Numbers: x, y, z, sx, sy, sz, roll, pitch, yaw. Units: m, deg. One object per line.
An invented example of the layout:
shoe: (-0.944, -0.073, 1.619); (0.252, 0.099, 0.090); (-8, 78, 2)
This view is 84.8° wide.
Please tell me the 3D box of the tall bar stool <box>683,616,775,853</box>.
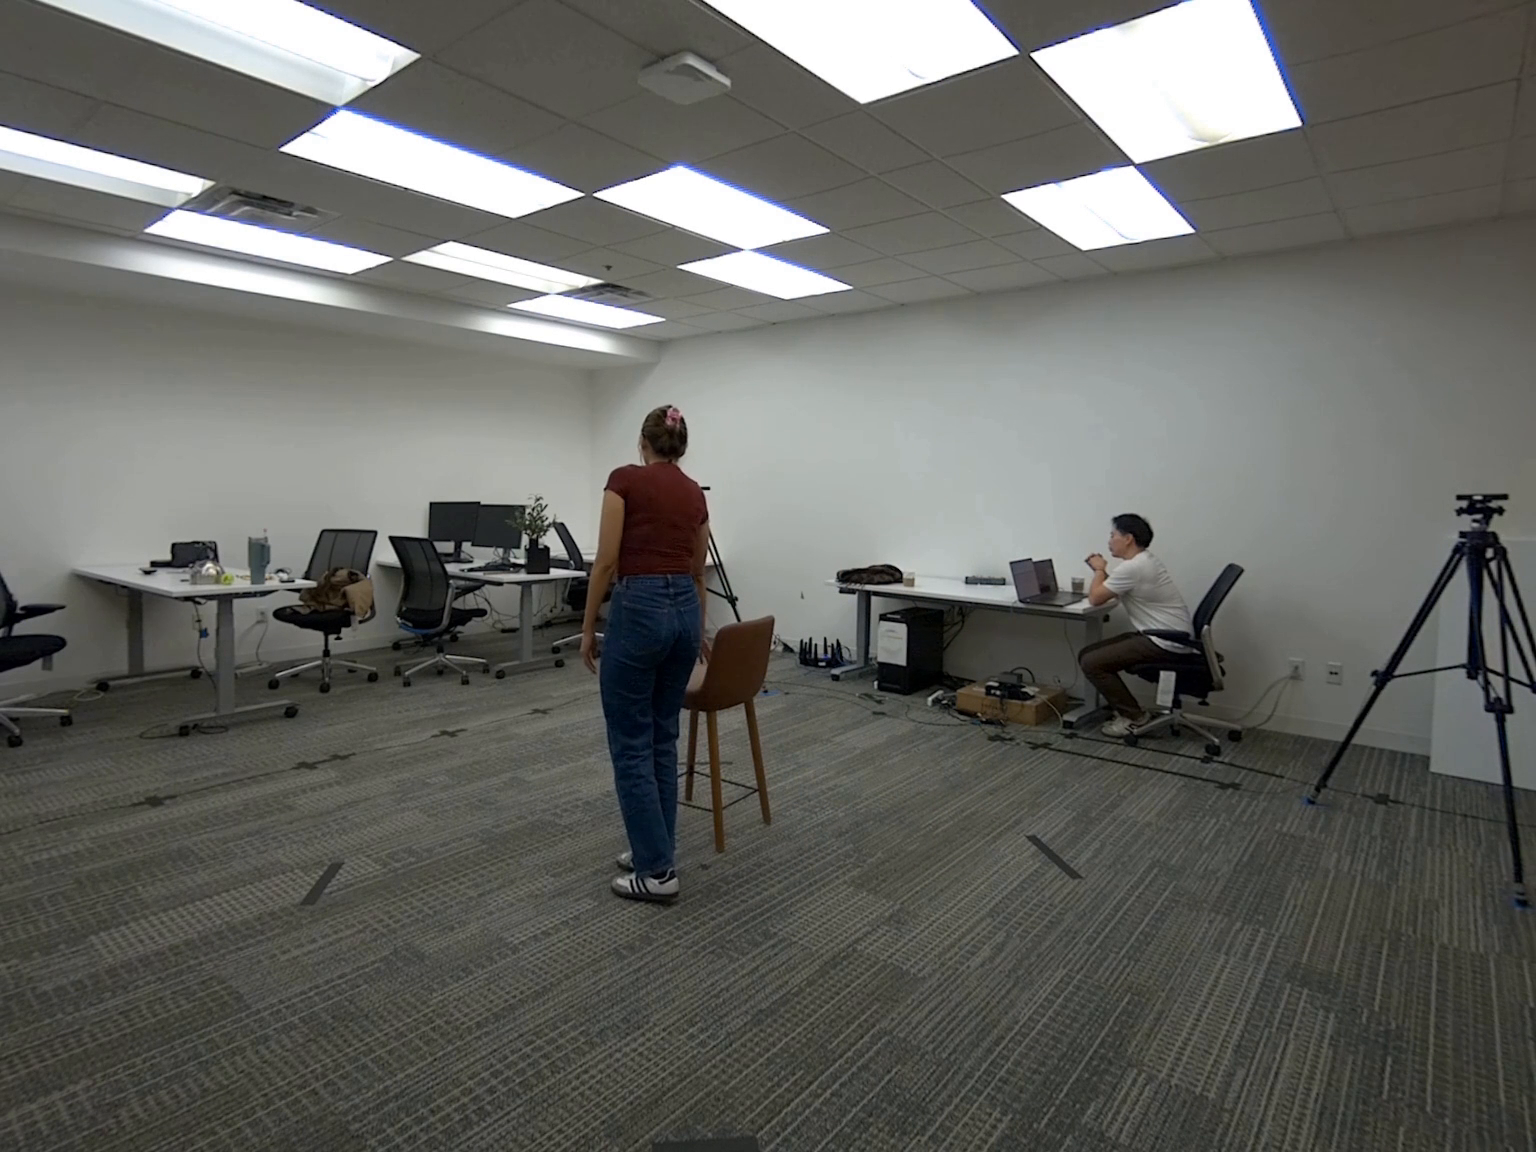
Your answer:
tall bar stool: (-0.272, 0.592, 3.497); (0.482, 0.887, 0.444); (4, 5, 34)
